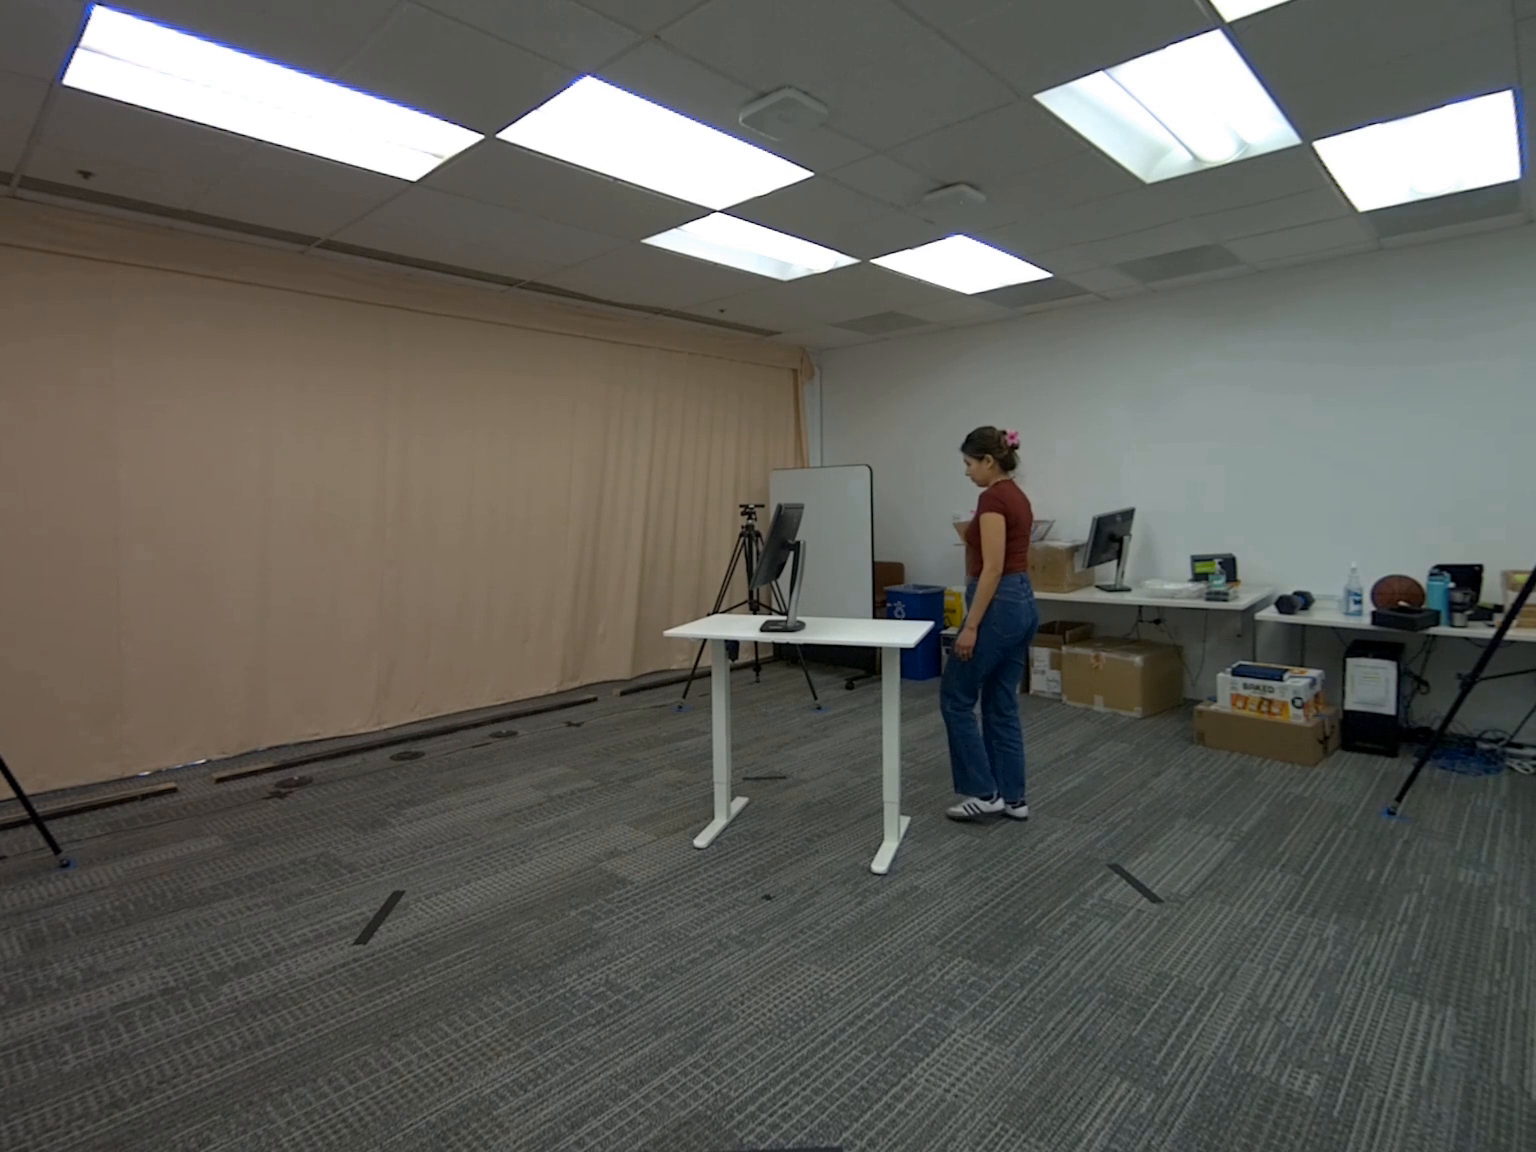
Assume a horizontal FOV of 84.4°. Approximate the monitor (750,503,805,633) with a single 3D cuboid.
[{"bbox_3d":[0.077,-0.038,3.479,0.189,0.521,0.533,3,4,10],"label":"monitor"}]
